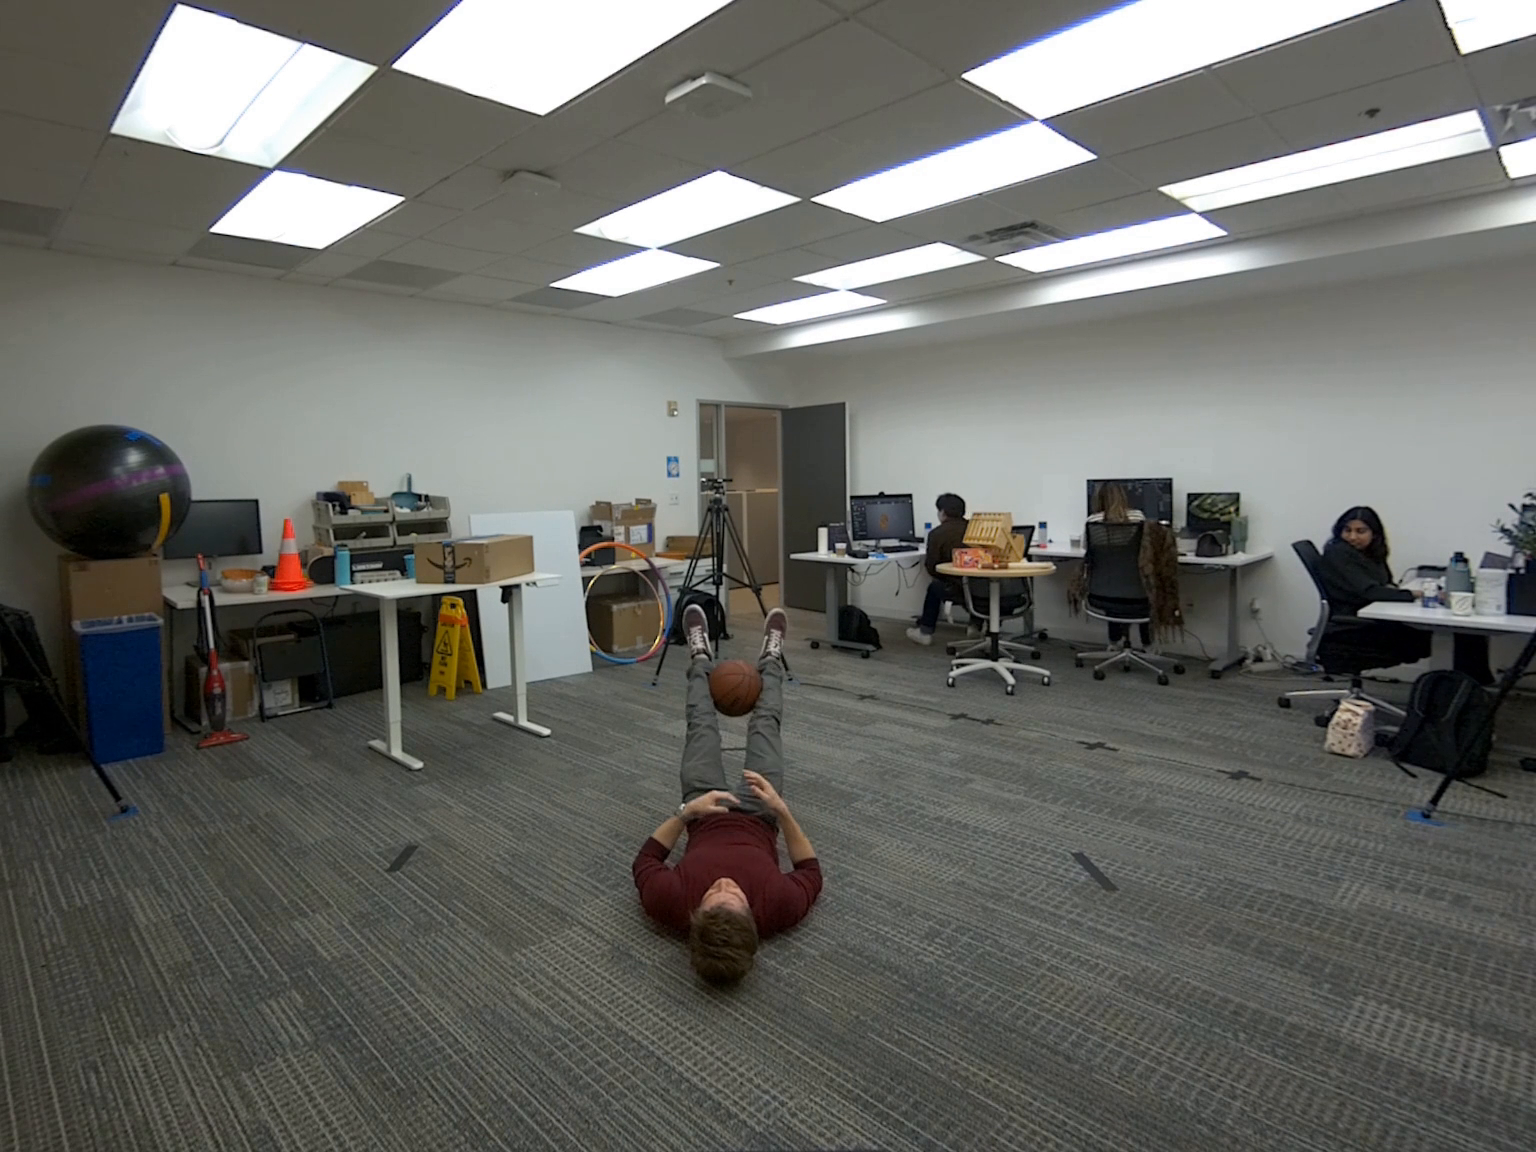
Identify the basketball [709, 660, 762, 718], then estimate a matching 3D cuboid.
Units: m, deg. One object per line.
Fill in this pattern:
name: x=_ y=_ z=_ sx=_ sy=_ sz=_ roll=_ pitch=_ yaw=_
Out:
basketball: x=-0.130 y=0.472 z=3.585 sx=0.236 sy=0.235 sz=0.237 roll=-1 pitch=5 yaw=-2
